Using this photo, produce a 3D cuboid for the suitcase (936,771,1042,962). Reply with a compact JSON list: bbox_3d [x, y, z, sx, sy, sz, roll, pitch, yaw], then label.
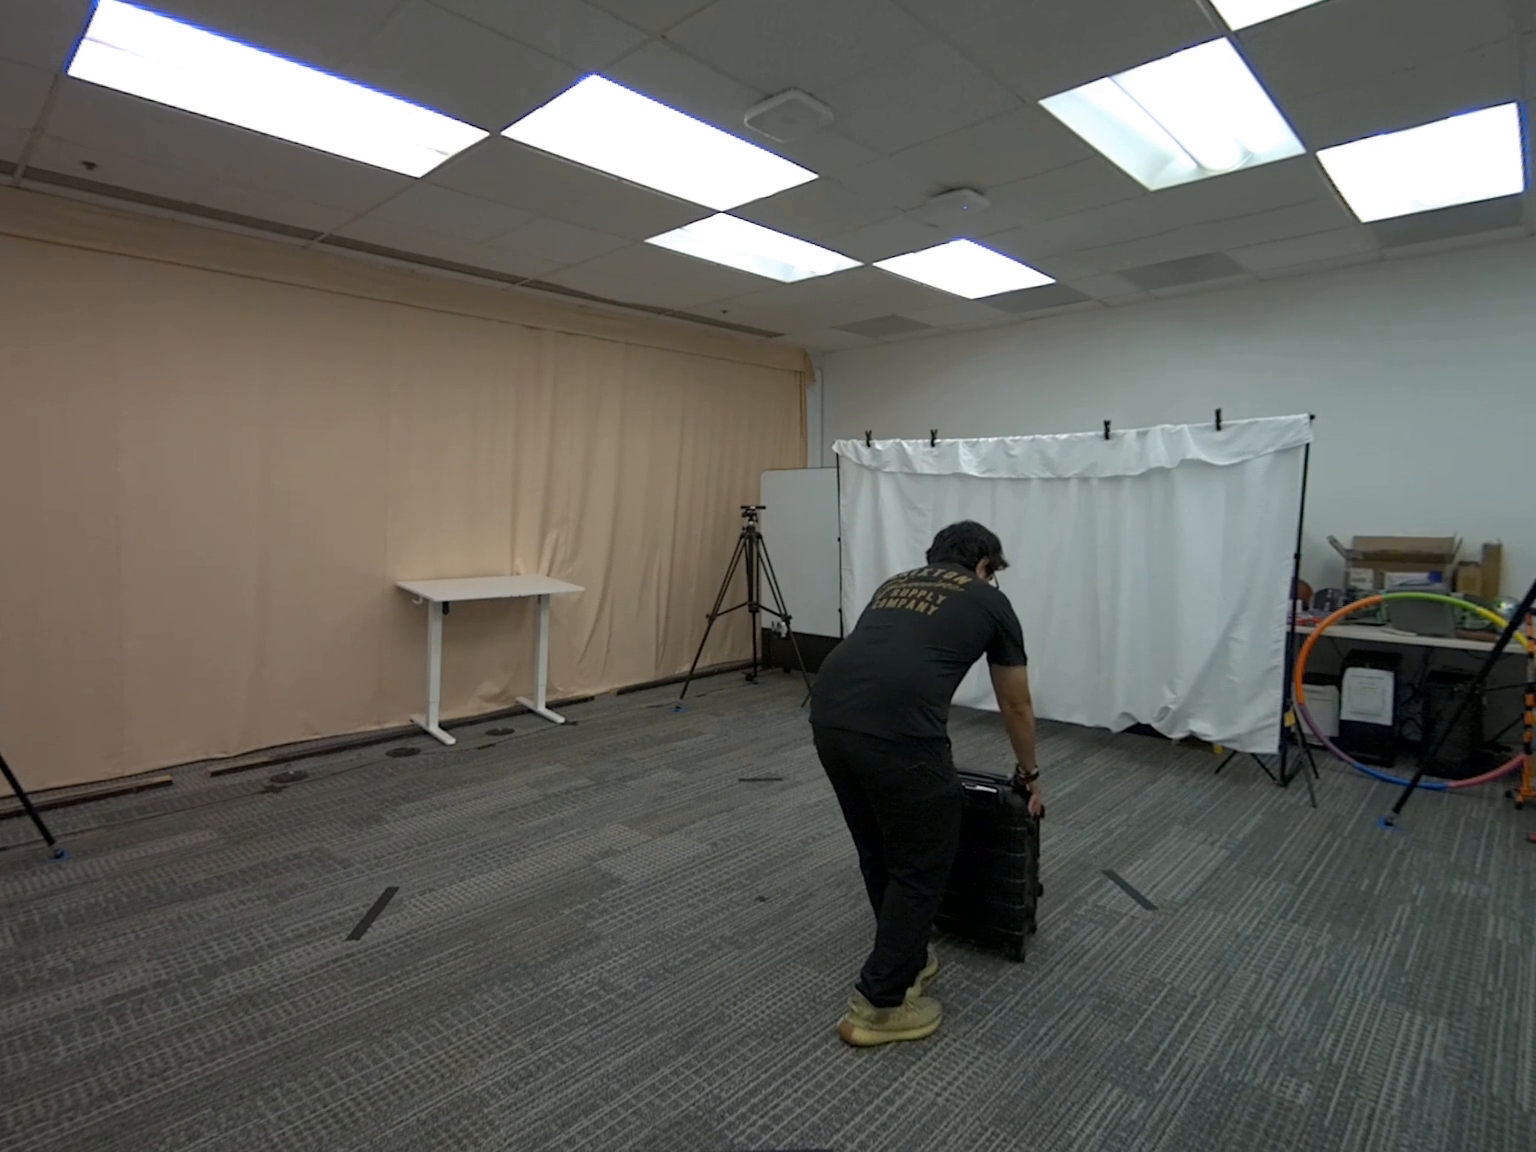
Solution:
[{"bbox_3d":[0.683,0.892,2.701,0.386,0.547,0.242,3,7,30],"label":"suitcase"}]
